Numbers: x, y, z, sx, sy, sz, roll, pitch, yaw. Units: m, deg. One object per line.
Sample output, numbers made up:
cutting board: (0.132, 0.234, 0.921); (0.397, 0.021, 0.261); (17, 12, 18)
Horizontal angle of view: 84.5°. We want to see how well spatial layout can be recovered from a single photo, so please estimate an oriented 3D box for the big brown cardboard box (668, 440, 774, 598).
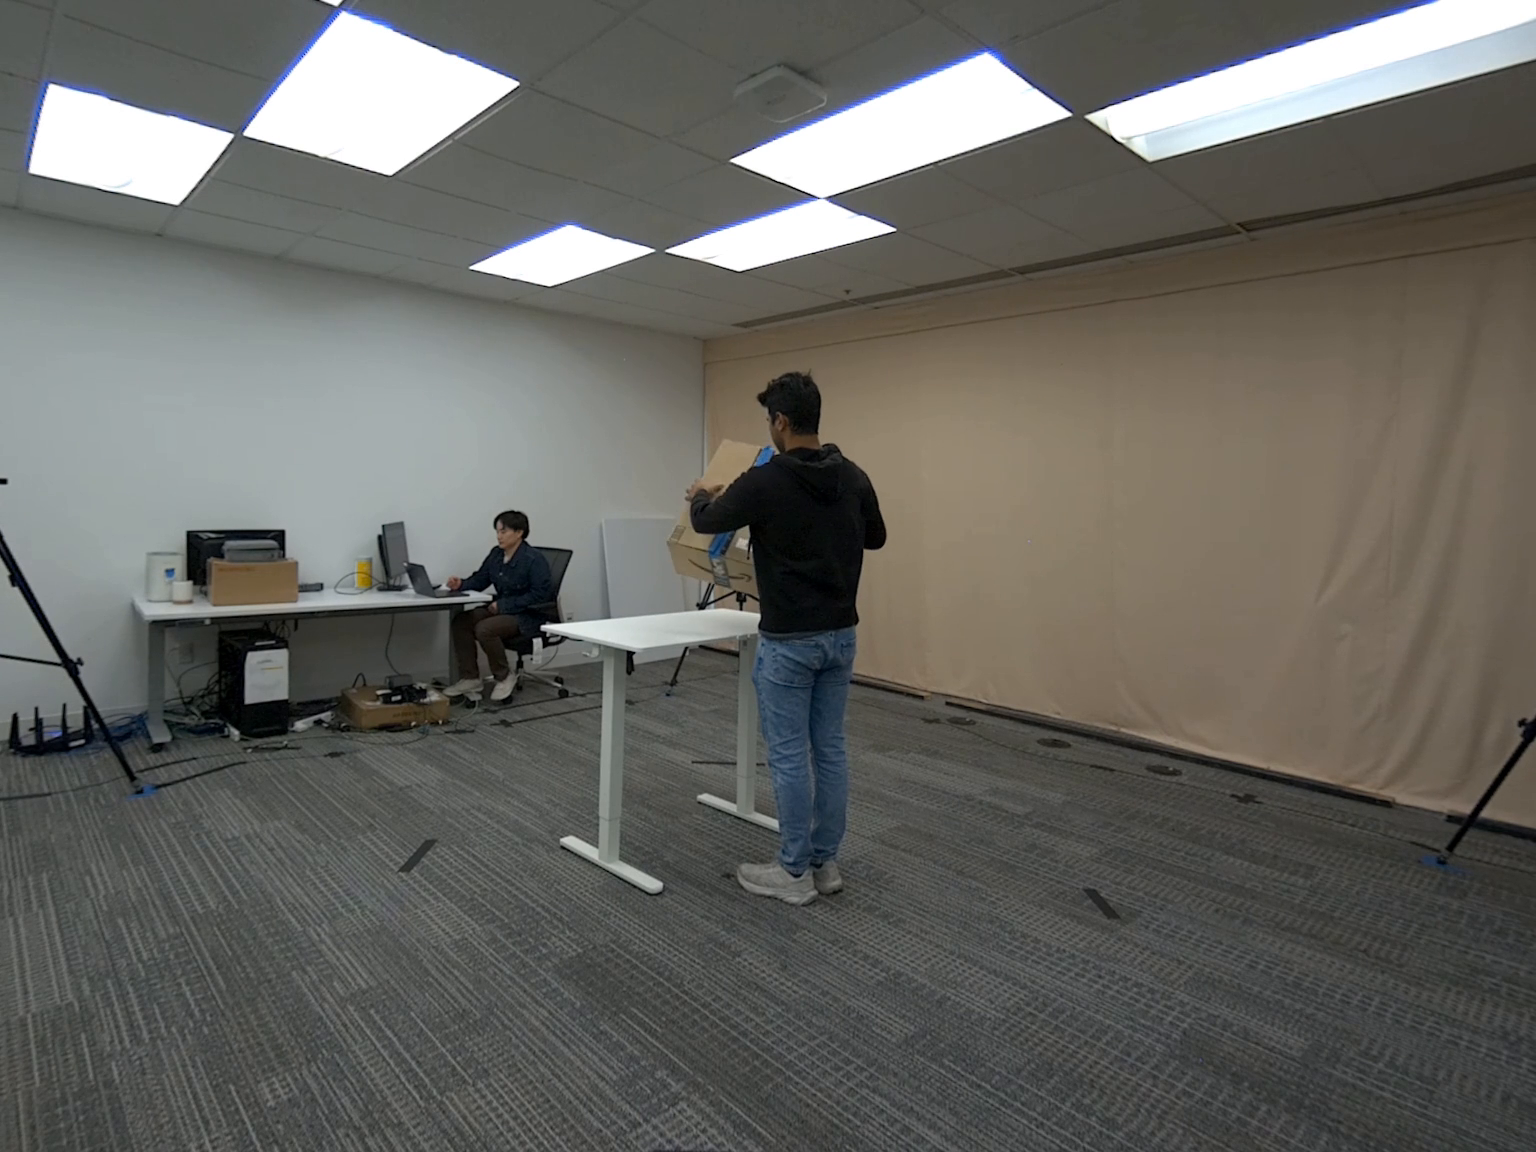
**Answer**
big brown cardboard box: (-0.088, -0.231, 3.361); (0.425, 0.594, 0.227); (14, -34, 18)
